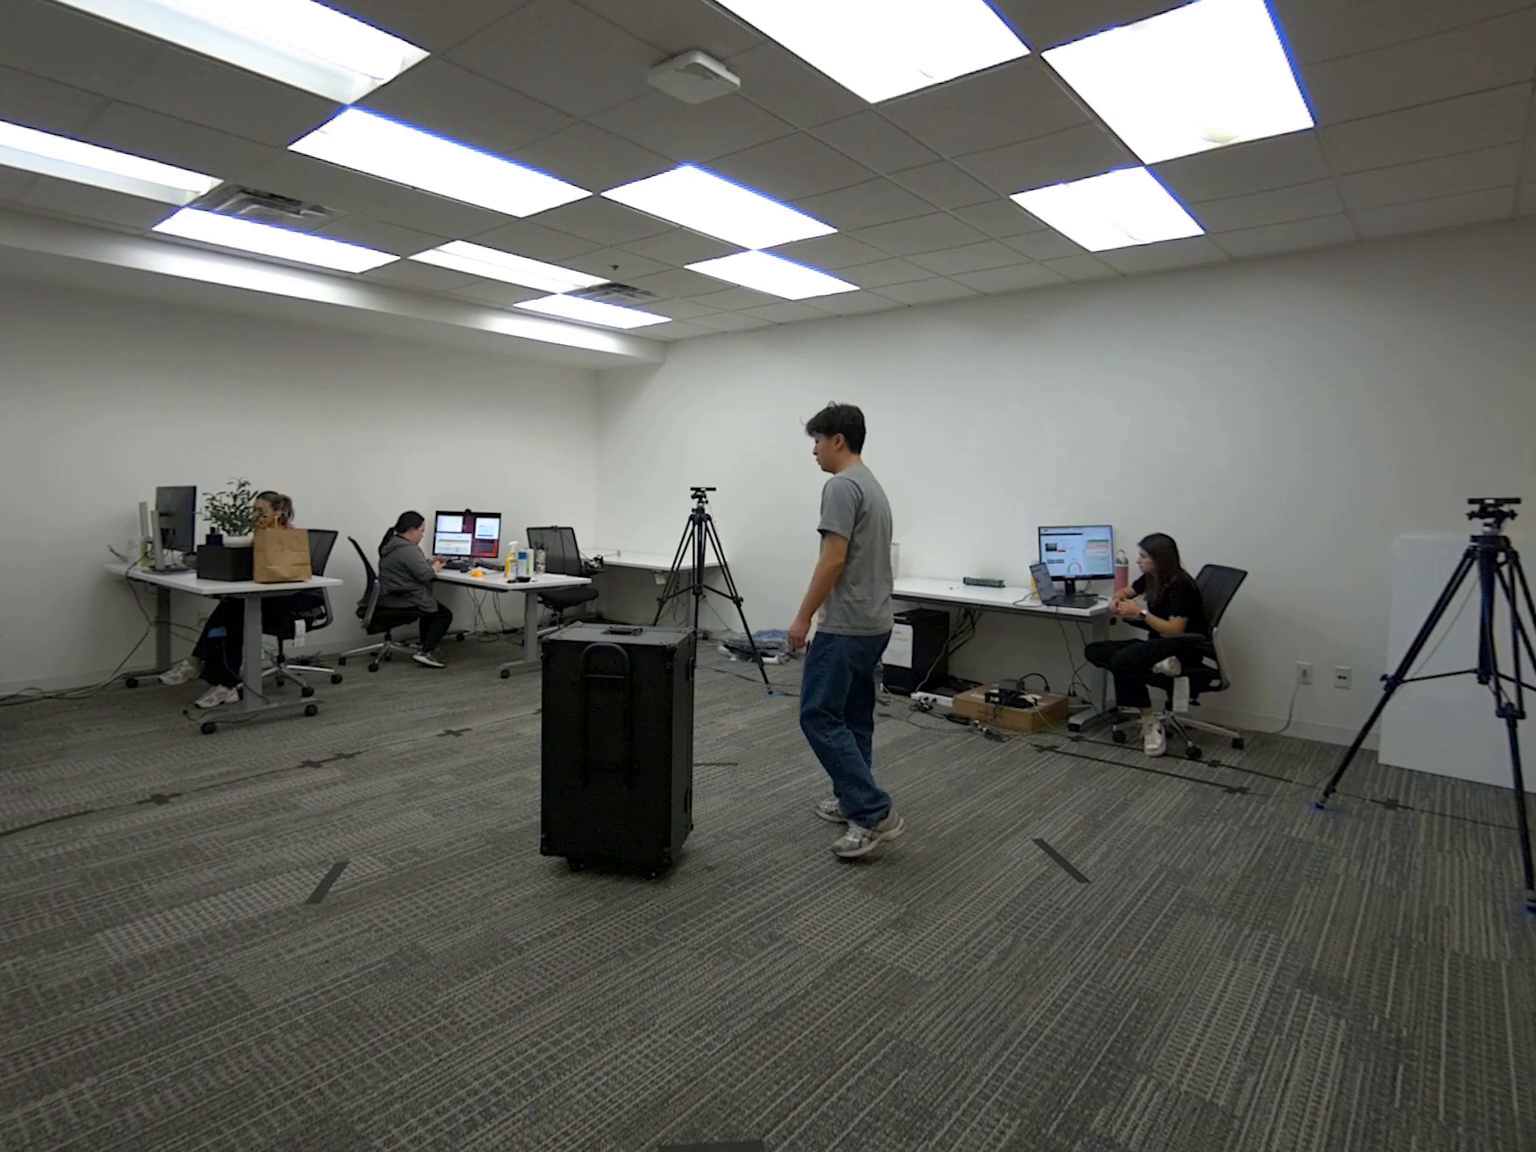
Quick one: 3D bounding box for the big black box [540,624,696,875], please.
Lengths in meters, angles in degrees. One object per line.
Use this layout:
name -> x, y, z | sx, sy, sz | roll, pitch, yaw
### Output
big black box -> -0.548, 0.634, 3.126 | 0.527, 0.858, 0.393 | 2, 4, 10
